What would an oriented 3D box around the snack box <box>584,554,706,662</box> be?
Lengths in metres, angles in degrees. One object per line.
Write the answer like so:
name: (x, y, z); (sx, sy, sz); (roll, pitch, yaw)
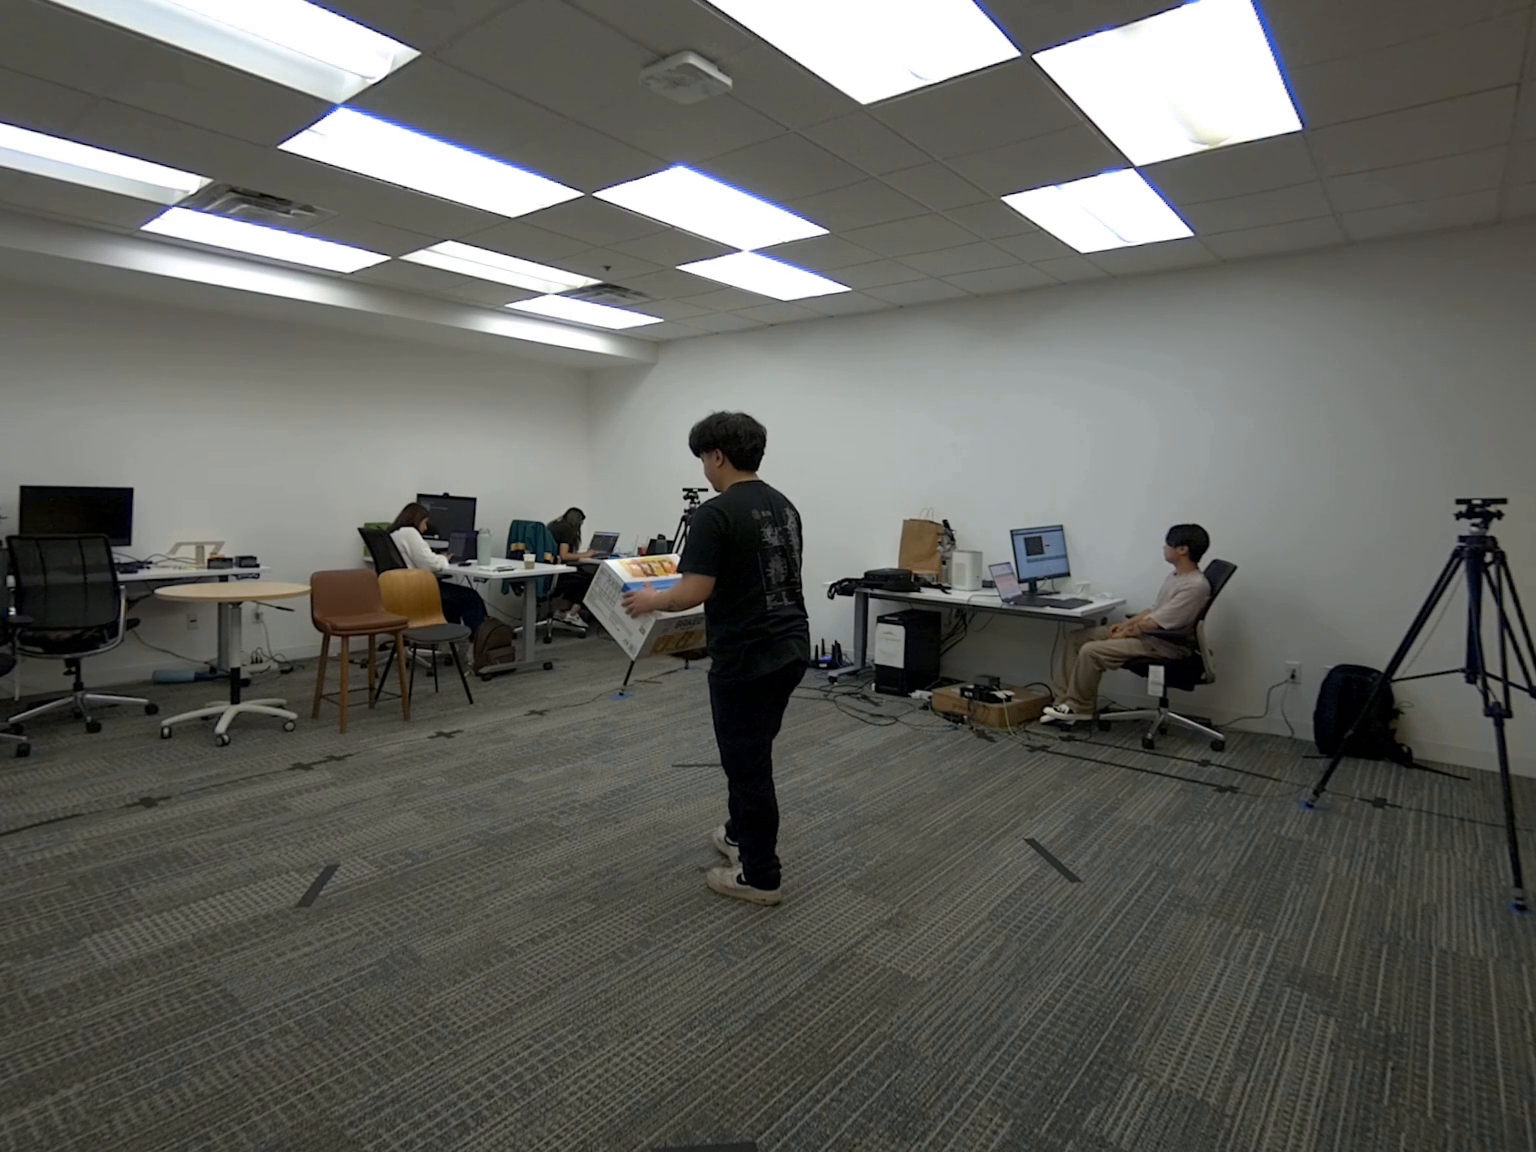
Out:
snack box: (-0.434, 0.109, 3.235); (0.353, 0.204, 0.393); (42, 28, 28)
